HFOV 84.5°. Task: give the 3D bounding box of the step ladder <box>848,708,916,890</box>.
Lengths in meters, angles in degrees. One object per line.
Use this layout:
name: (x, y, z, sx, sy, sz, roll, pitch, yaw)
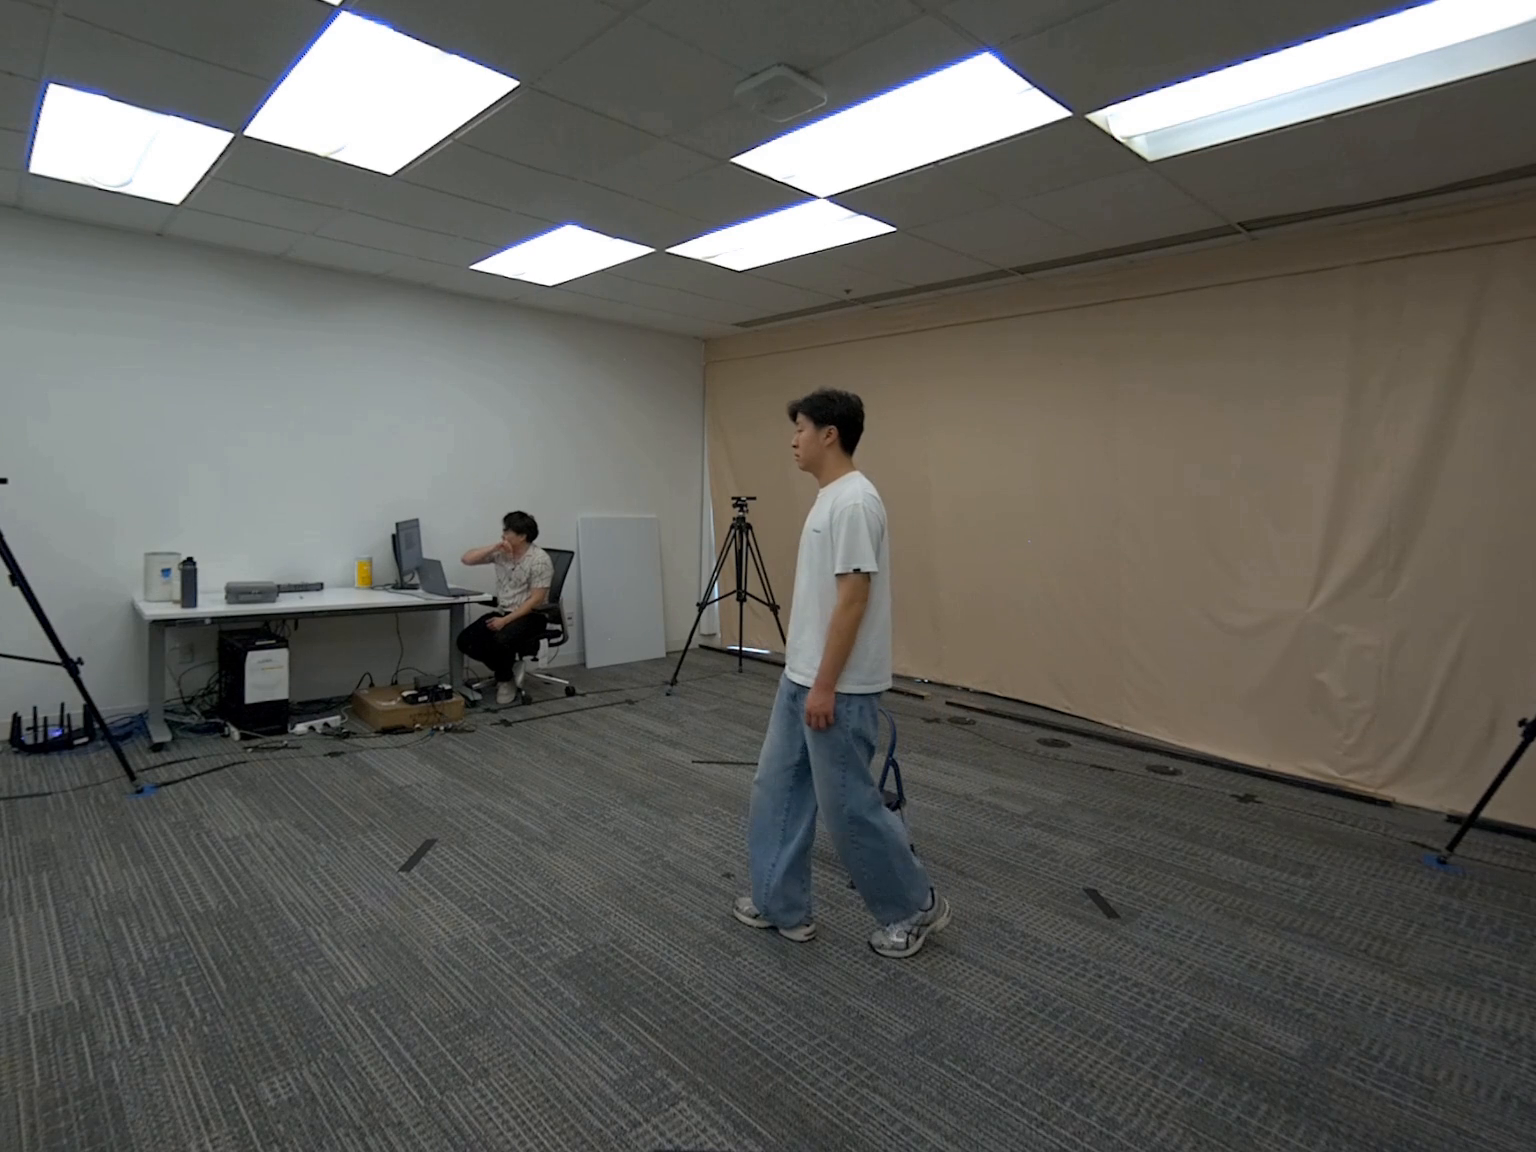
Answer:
step ladder: (0.316, 0.801, 3.275, 0.341, 0.605, 0.441, 0, 4, -37)
